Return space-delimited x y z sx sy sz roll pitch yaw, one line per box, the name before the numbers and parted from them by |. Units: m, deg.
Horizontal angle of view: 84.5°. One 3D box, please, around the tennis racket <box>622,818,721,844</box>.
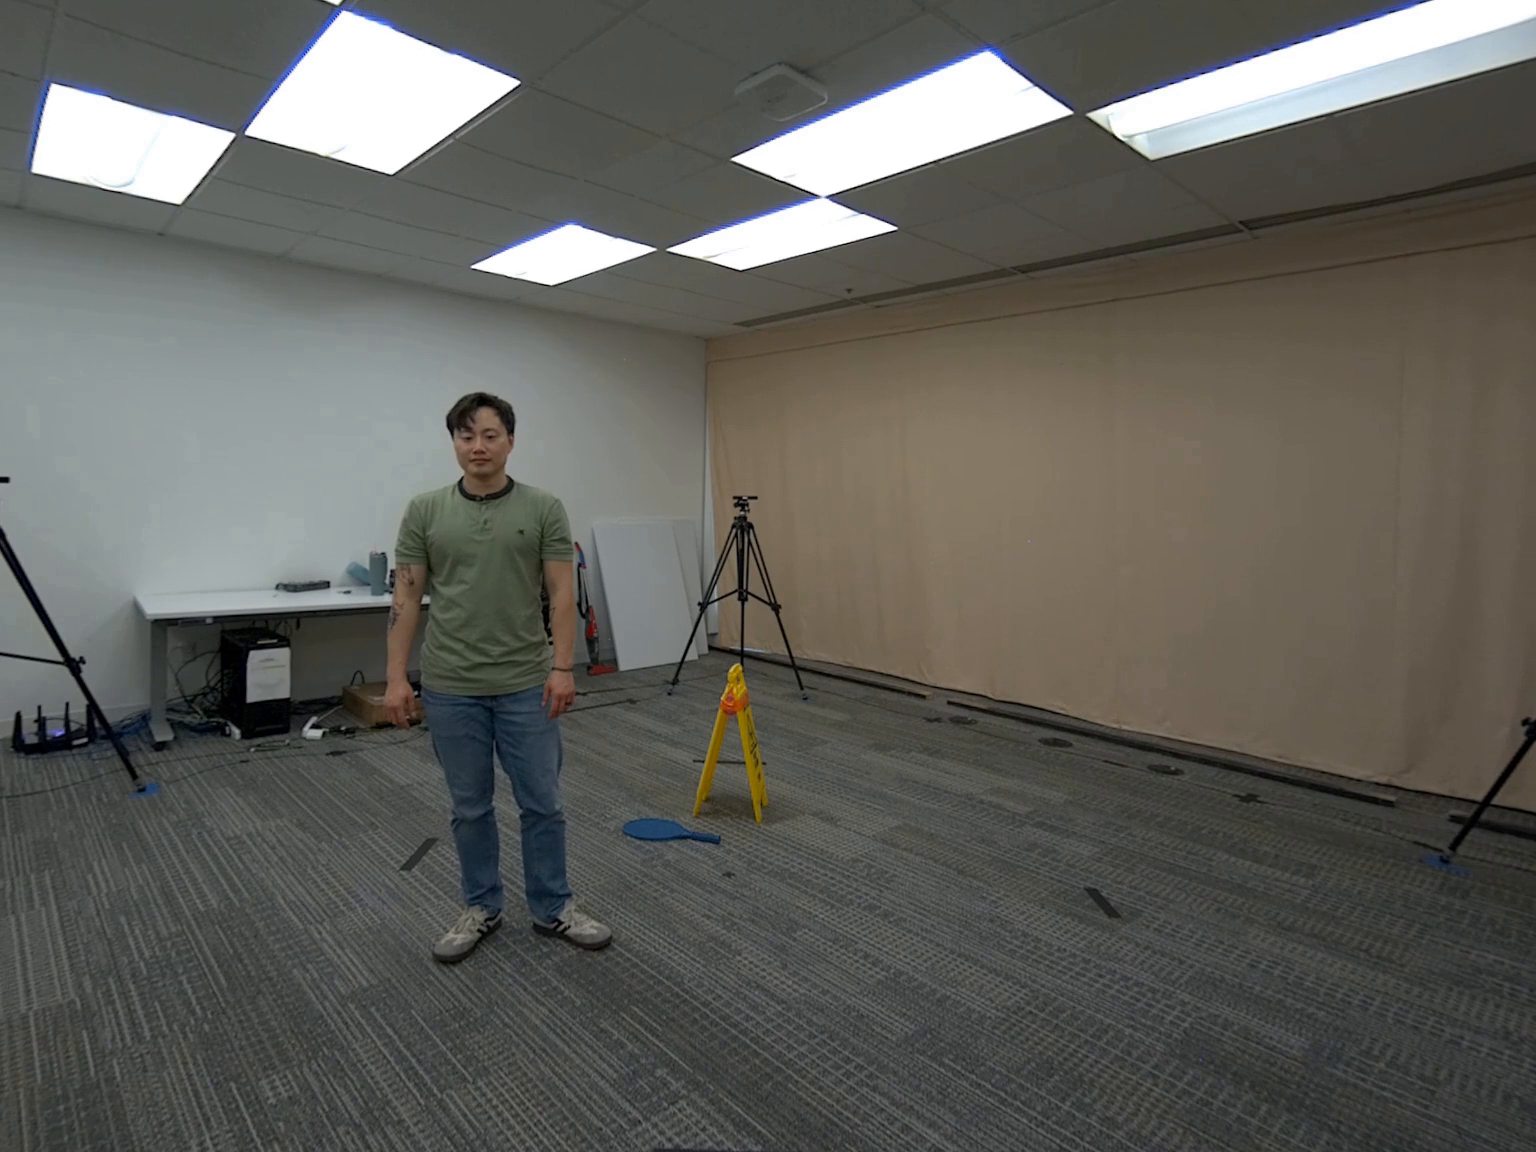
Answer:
tennis racket | -0.405 1.053 3.466 0.440 0.031 0.211 2 5 20
